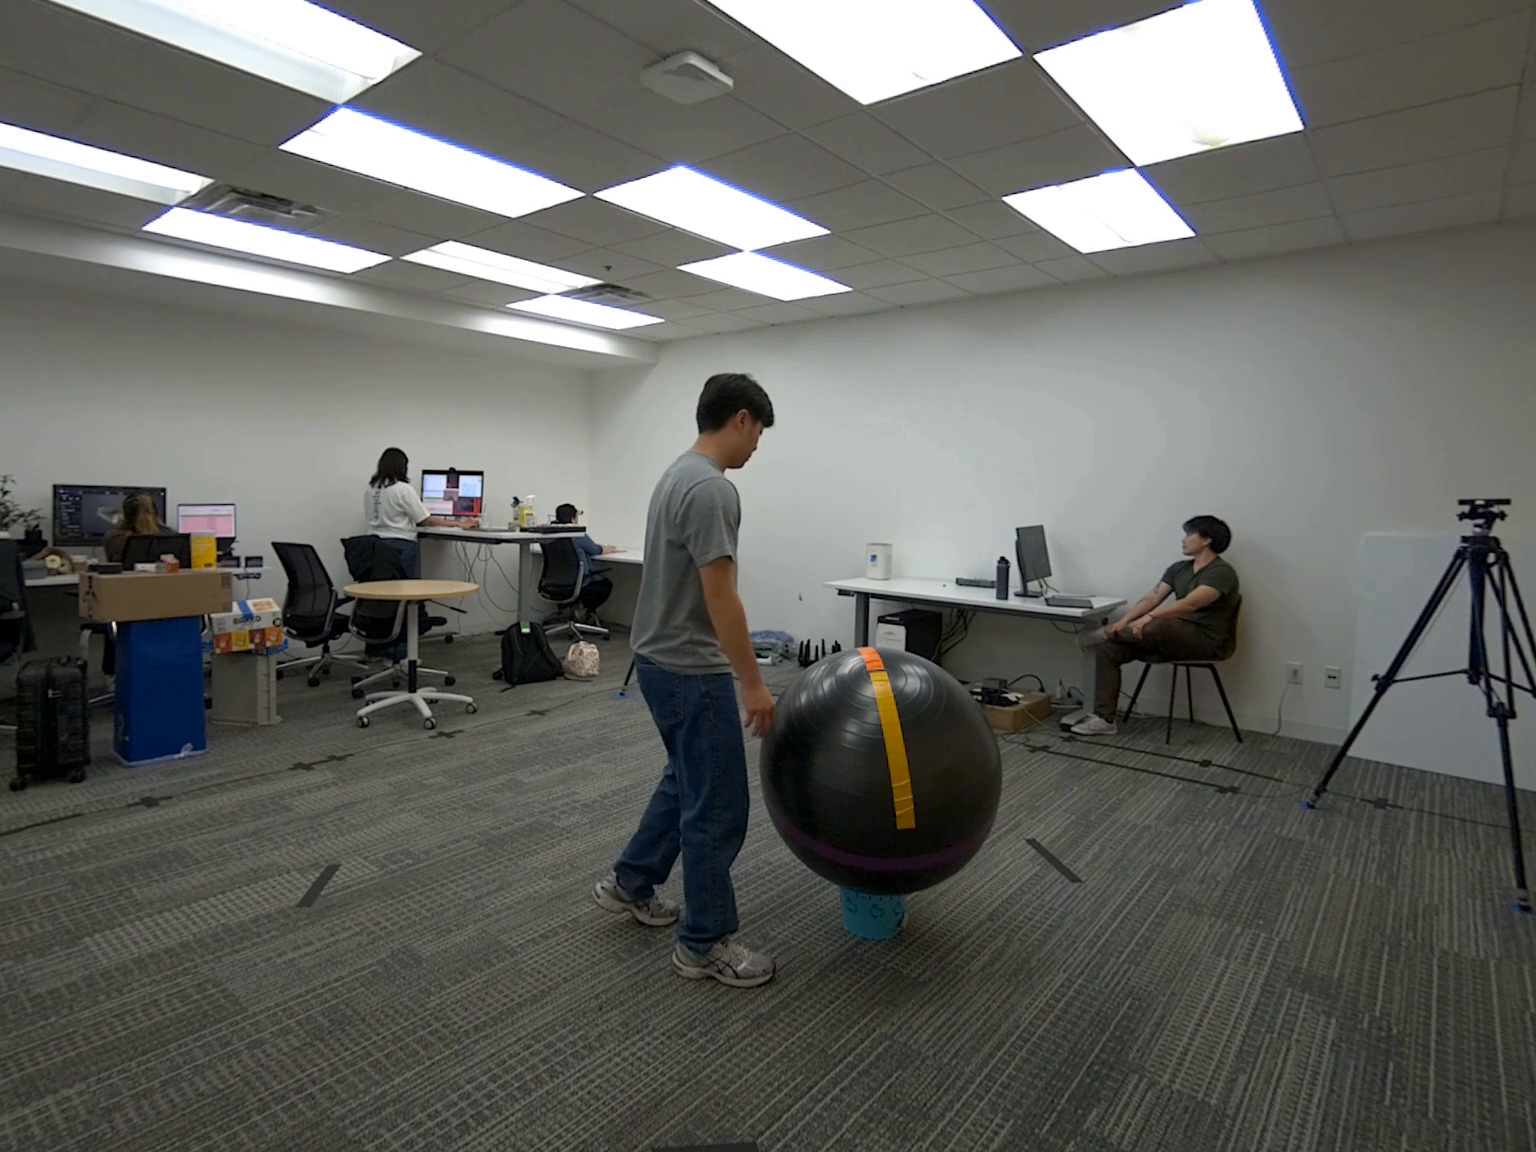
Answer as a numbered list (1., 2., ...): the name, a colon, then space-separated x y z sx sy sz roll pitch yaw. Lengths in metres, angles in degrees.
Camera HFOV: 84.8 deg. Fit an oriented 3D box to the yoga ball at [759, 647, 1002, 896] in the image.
1. yoga ball: 0.349 0.612 2.710 0.757 0.756 0.761 1 4 -2
